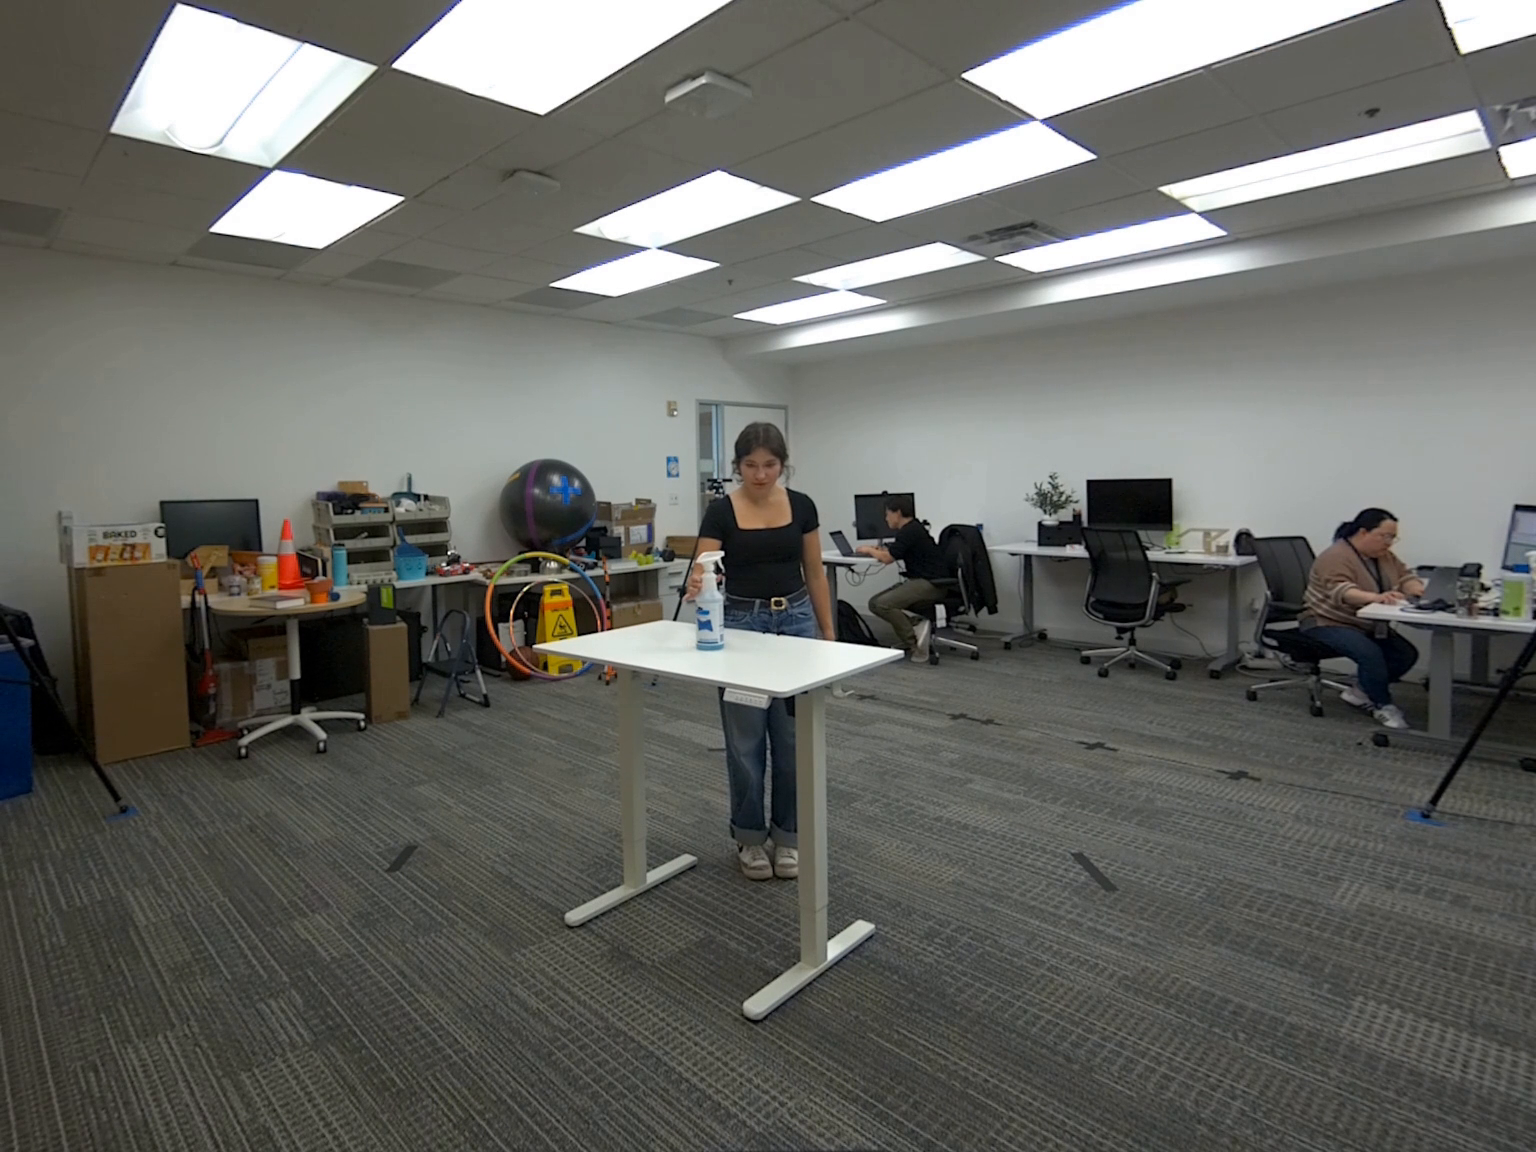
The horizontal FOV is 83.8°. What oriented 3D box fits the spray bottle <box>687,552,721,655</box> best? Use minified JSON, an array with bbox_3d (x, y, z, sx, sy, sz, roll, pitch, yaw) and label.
[{"bbox_3d":[-0.195,0.081,2.612,0.090,0.296,0.087,-2,3,-1],"label":"spray bottle"}]
